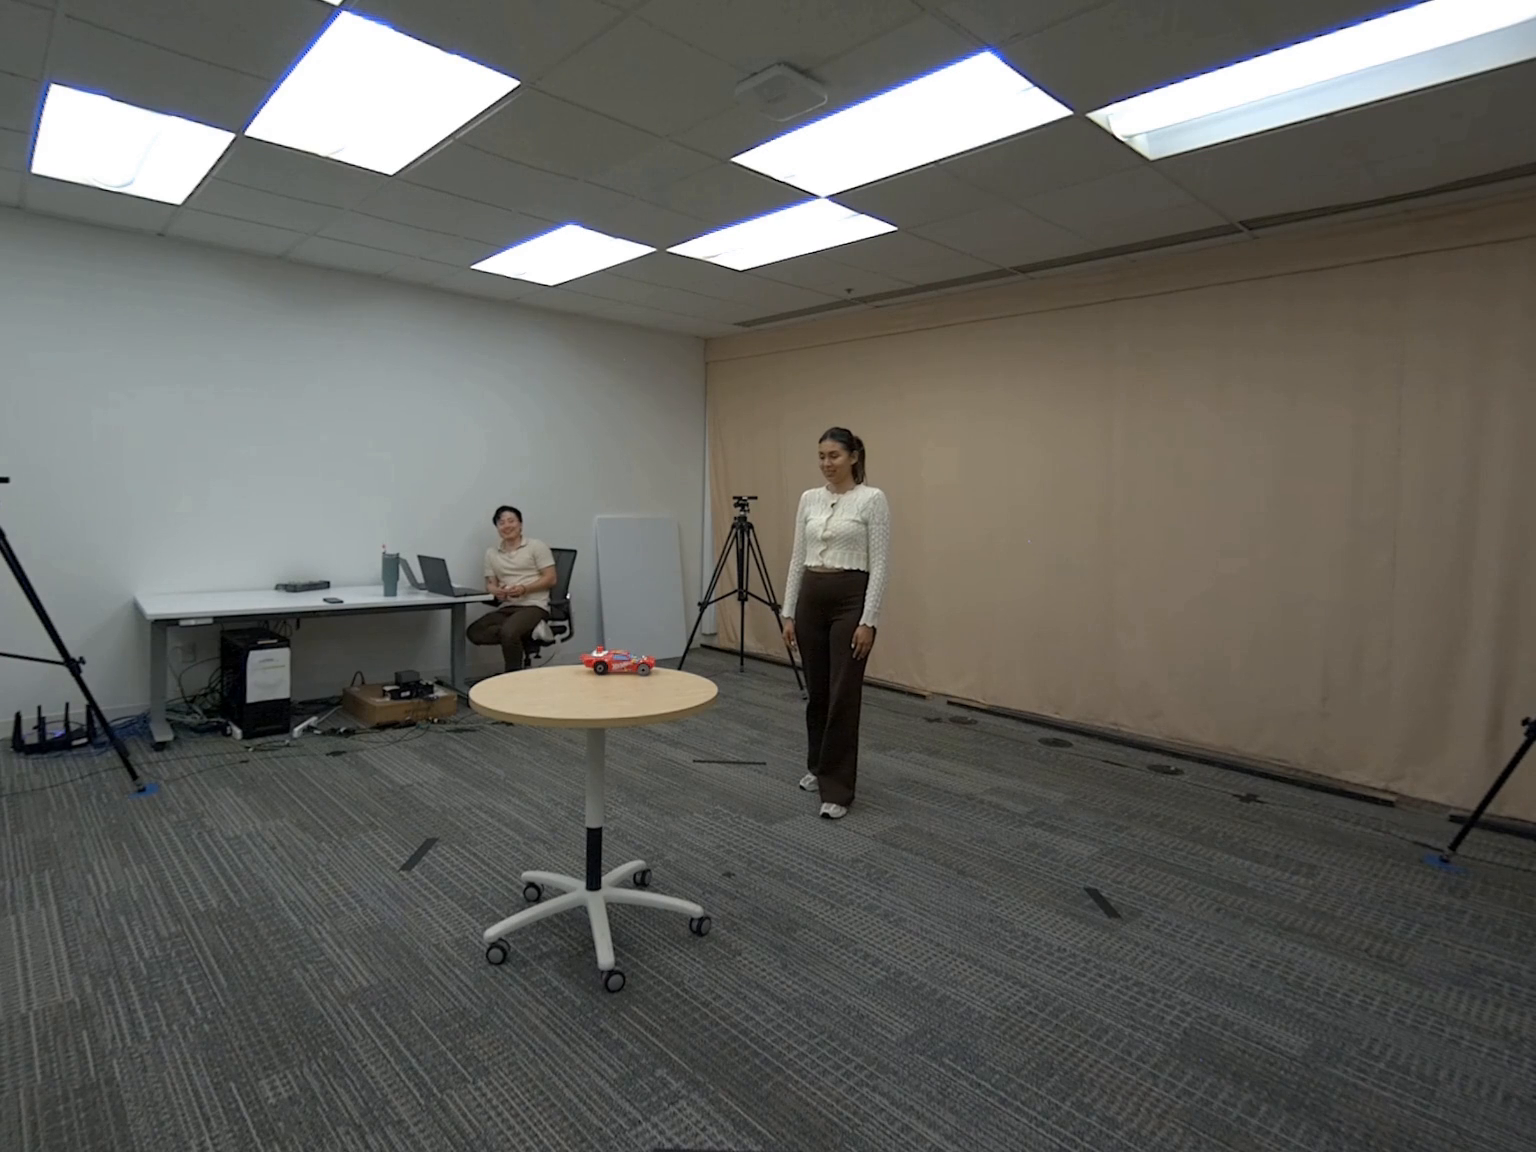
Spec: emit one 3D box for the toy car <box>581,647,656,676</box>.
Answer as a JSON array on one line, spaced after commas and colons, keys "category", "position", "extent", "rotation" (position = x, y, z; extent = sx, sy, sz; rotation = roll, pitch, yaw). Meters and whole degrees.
[{"category": "toy car", "position": [-0.538, 0.299, 2.888], "extent": [0.254, 0.083, 0.130], "rotation": [14, 3, 0]}]
